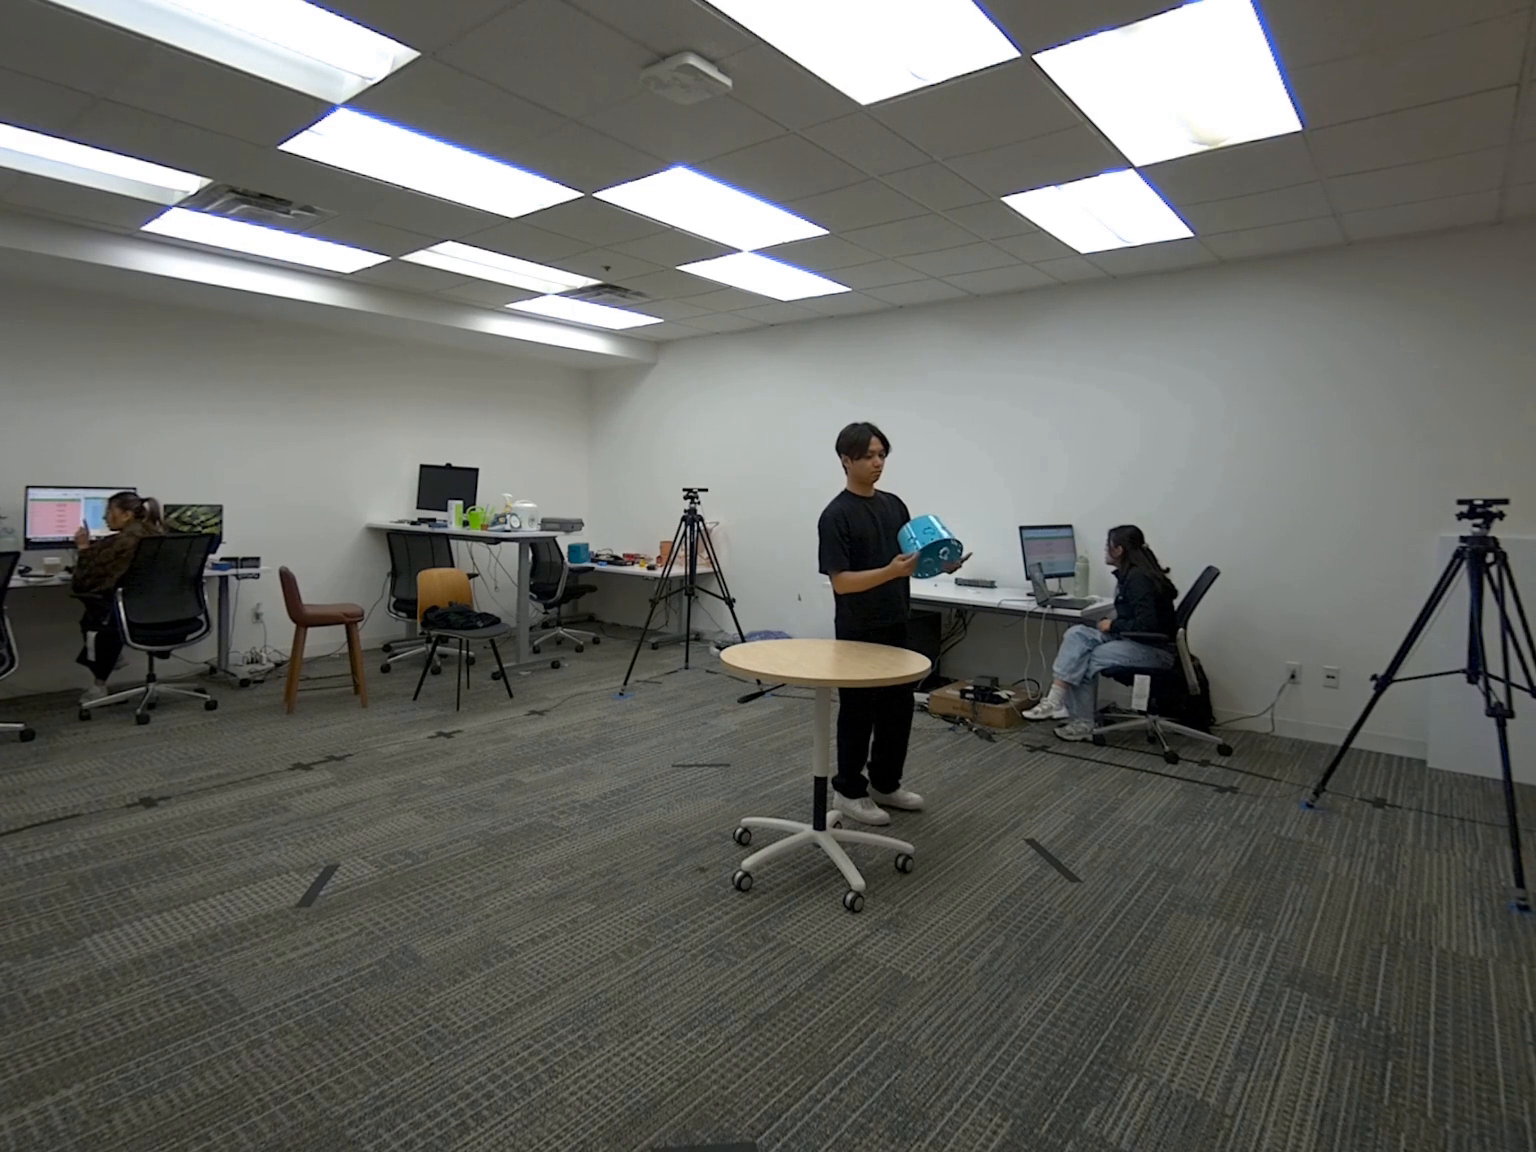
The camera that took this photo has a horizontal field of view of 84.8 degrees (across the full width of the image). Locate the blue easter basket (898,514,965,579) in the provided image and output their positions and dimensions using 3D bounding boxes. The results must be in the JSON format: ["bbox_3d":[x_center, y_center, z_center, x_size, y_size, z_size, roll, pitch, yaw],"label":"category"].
[{"bbox_3d":[0.623,-0.122,3.338,0.238,0.162,0.240,-1,-42,-26],"label":"blue easter basket"}]
